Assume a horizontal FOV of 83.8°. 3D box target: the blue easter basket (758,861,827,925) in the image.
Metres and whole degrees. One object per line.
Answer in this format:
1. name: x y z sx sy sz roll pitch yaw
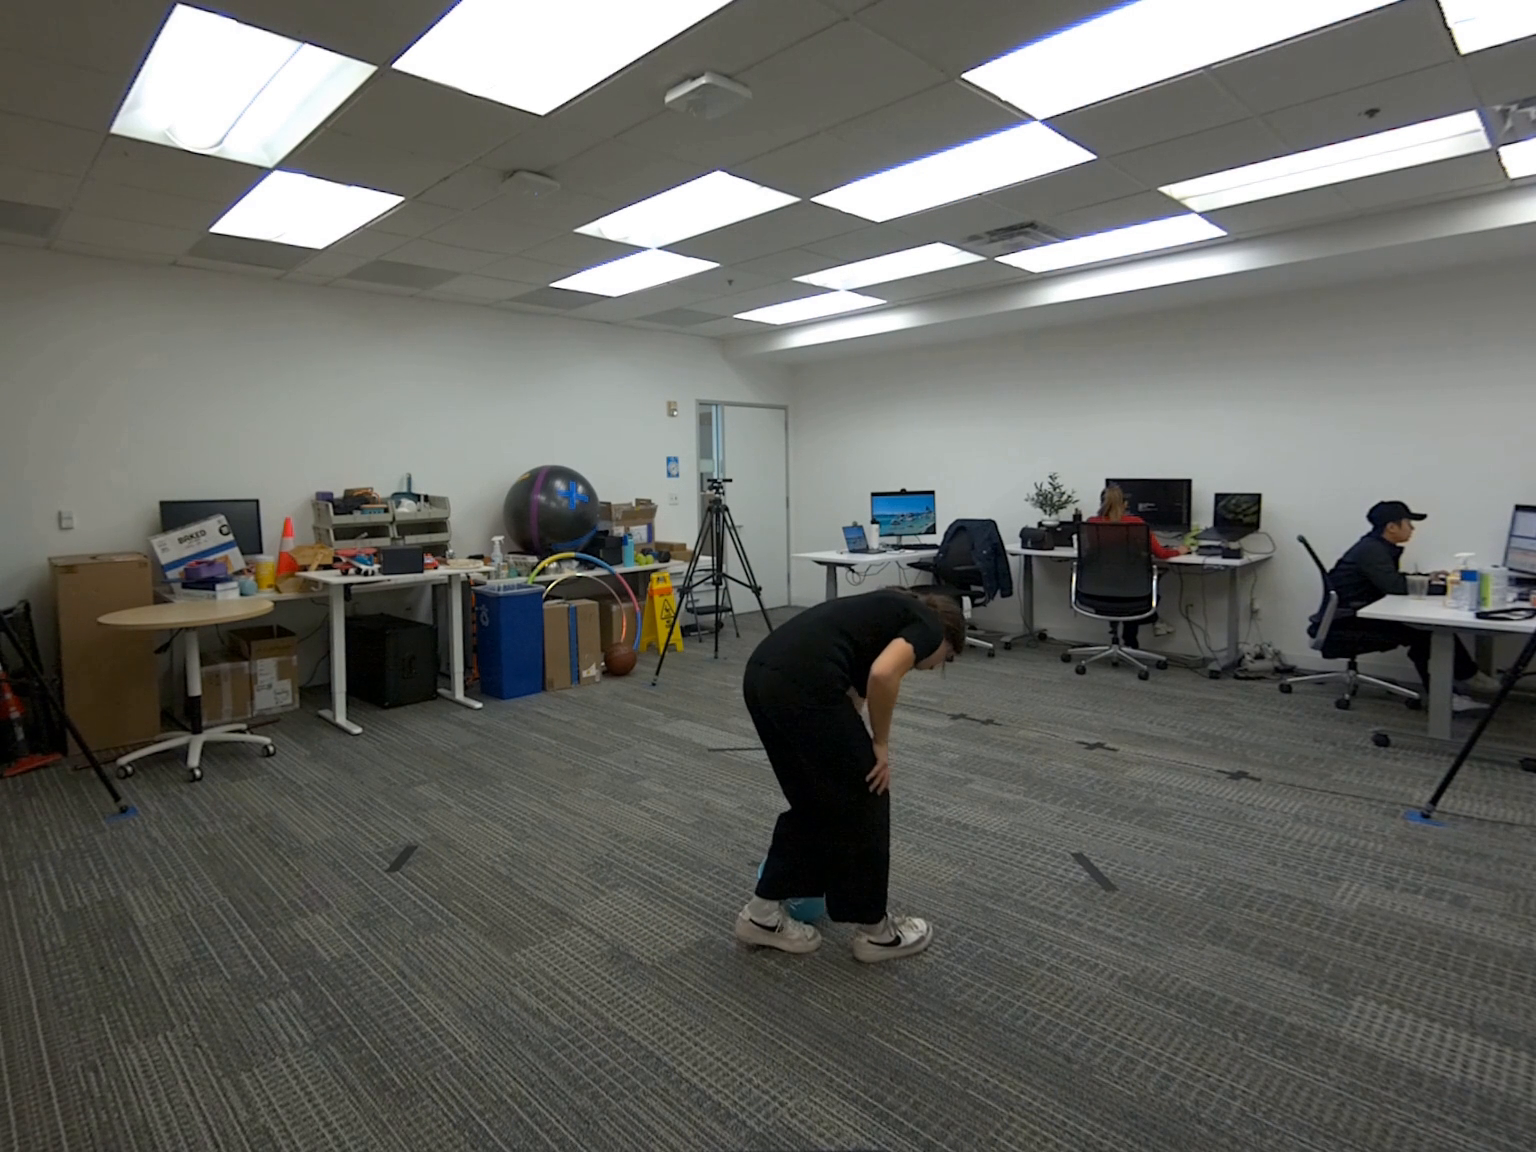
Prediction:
1. blue easter basket: 0.114 0.985 2.732 0.244 0.154 0.246 -22 12 3
